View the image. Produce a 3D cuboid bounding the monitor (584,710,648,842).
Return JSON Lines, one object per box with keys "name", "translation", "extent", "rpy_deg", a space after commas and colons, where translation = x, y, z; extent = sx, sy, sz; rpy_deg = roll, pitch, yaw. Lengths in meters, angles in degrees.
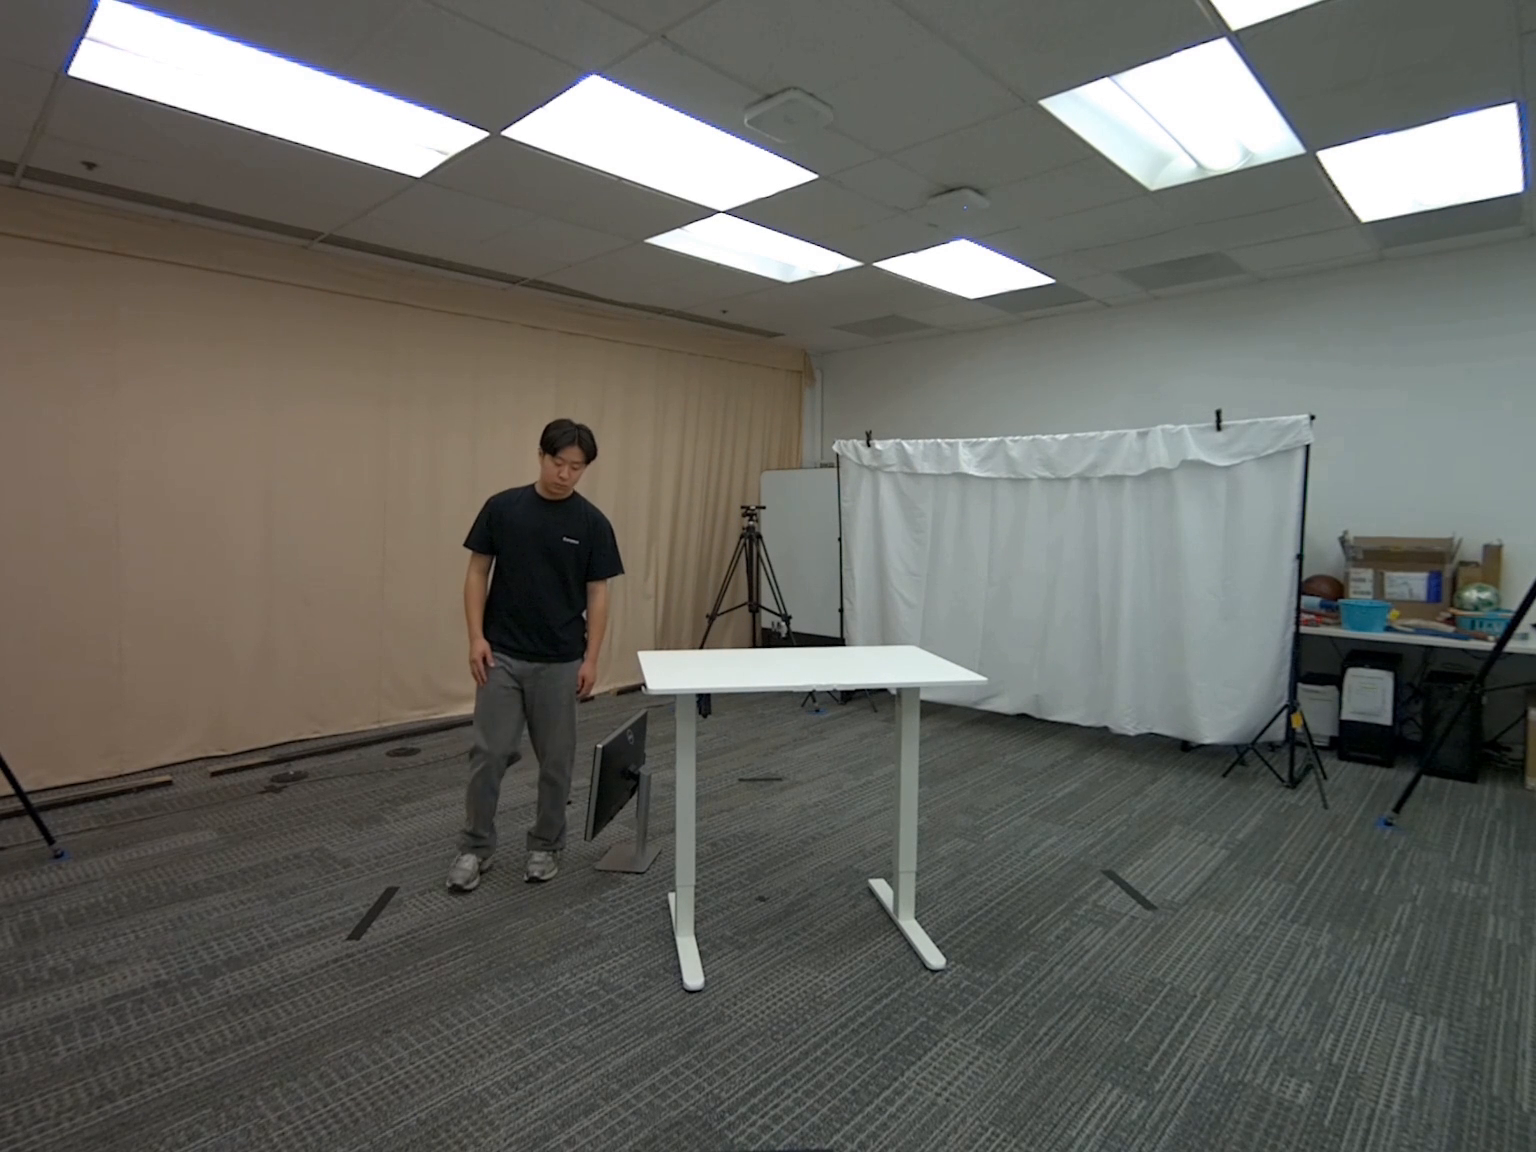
{"name": "monitor", "translation": [-0.558, 0.866, 3.304], "extent": [0.225, 0.565, 0.554], "rpy_deg": [-4, 3, 13]}
